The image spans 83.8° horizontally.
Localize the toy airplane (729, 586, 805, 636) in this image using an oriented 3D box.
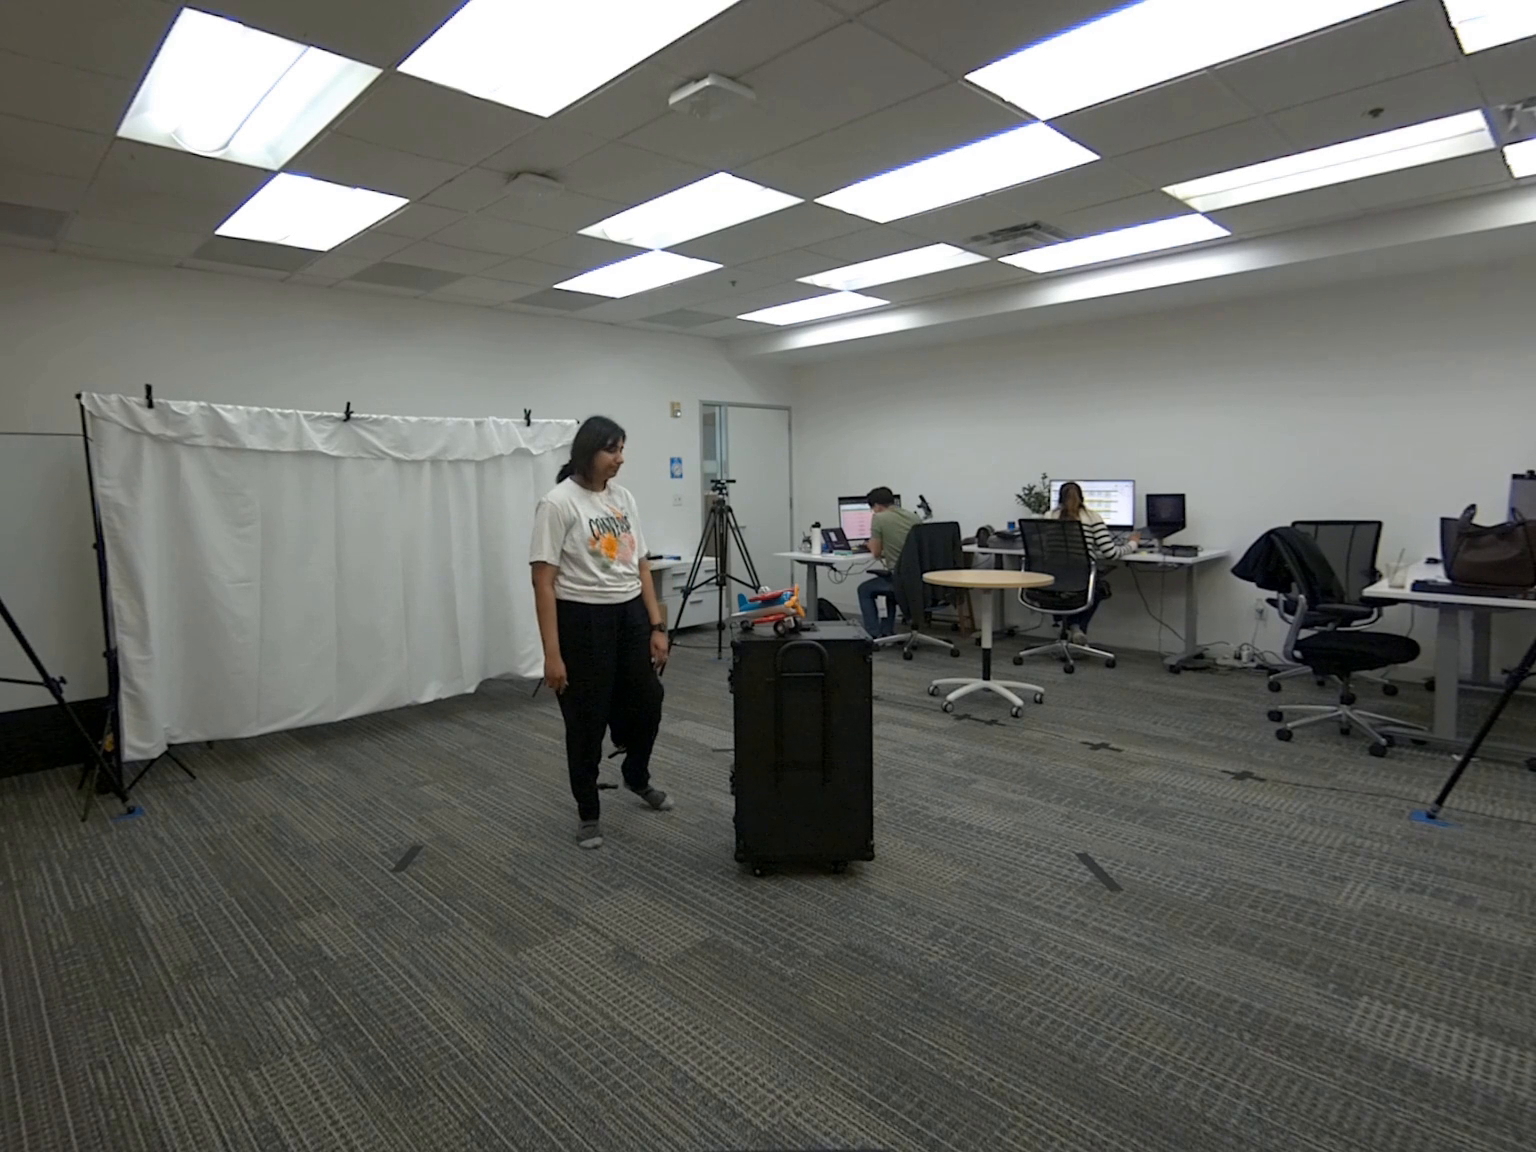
[{"bbox_3d":[0.000,0.123,3.053,0.261,0.156,0.250,1,5,6],"label":"toy airplane"}]
